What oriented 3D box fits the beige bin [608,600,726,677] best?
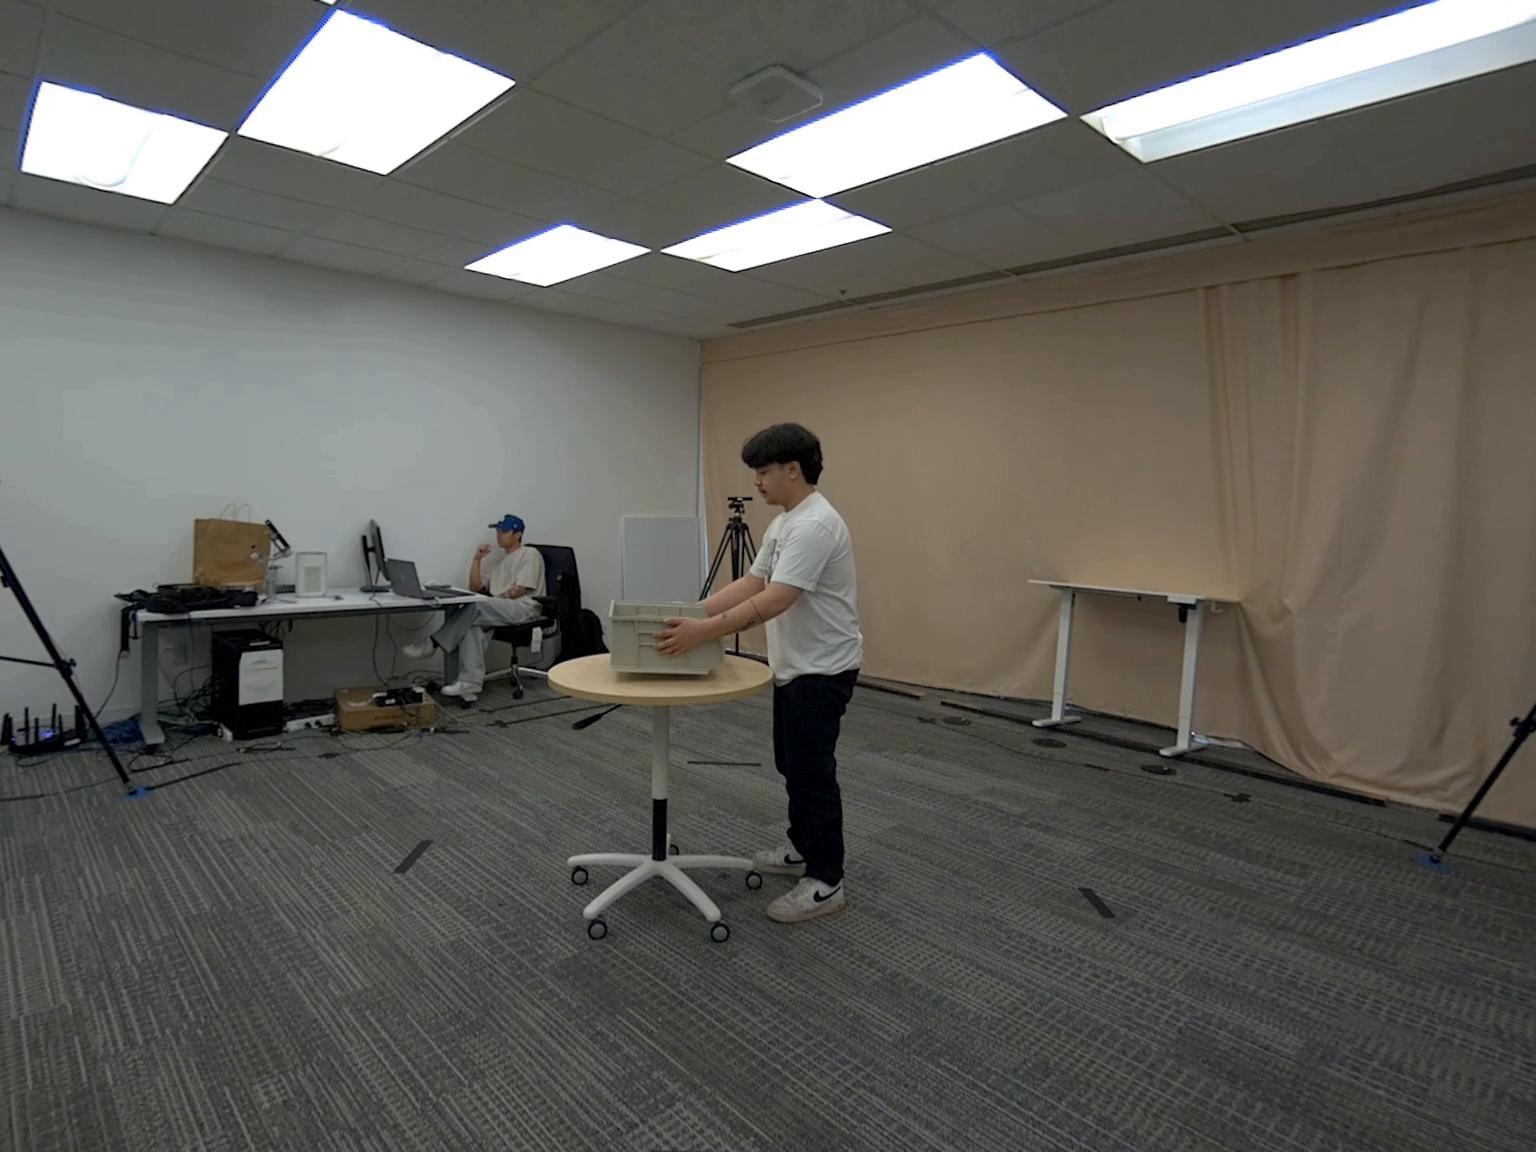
[{"bbox_3d":[-0.363,0.206,2.894,0.375,0.188,0.426,1,5,-9],"label":"beige bin"}]
